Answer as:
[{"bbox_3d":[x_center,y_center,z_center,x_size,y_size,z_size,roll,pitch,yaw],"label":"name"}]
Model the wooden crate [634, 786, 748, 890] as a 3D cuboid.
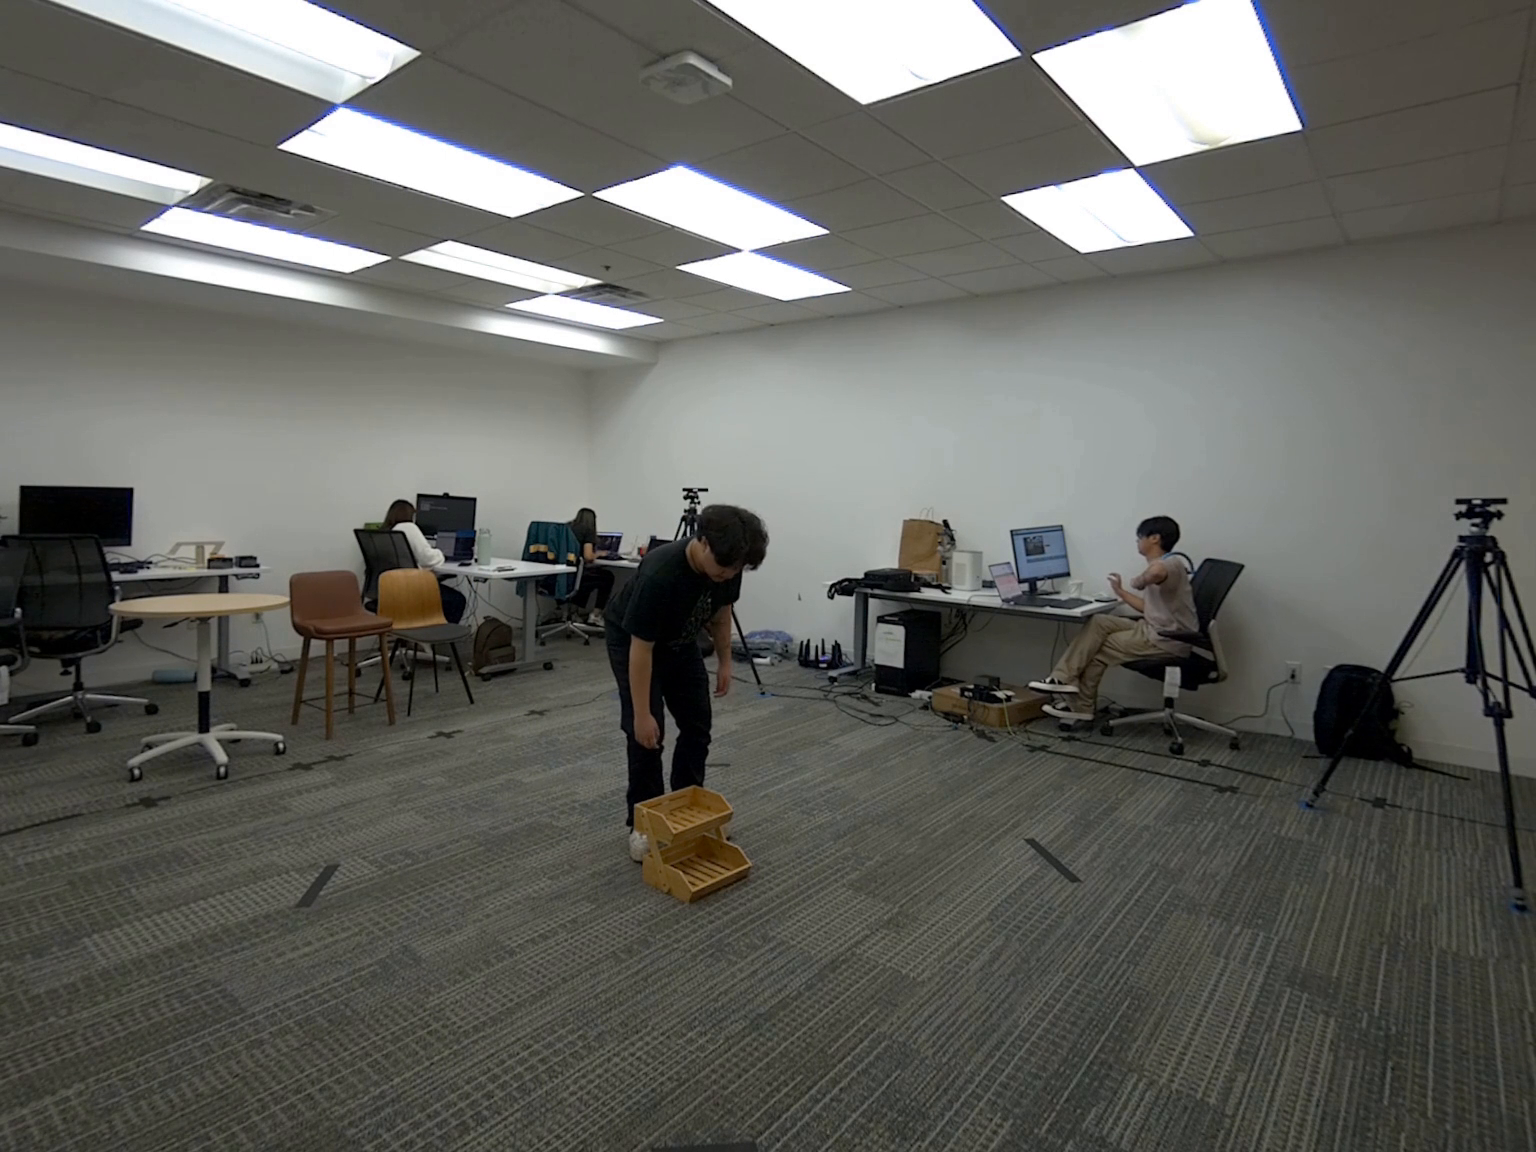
[{"bbox_3d":[-0.277,0.944,3.036,0.312,0.272,0.315,4,5,42],"label":"wooden crate"}]
